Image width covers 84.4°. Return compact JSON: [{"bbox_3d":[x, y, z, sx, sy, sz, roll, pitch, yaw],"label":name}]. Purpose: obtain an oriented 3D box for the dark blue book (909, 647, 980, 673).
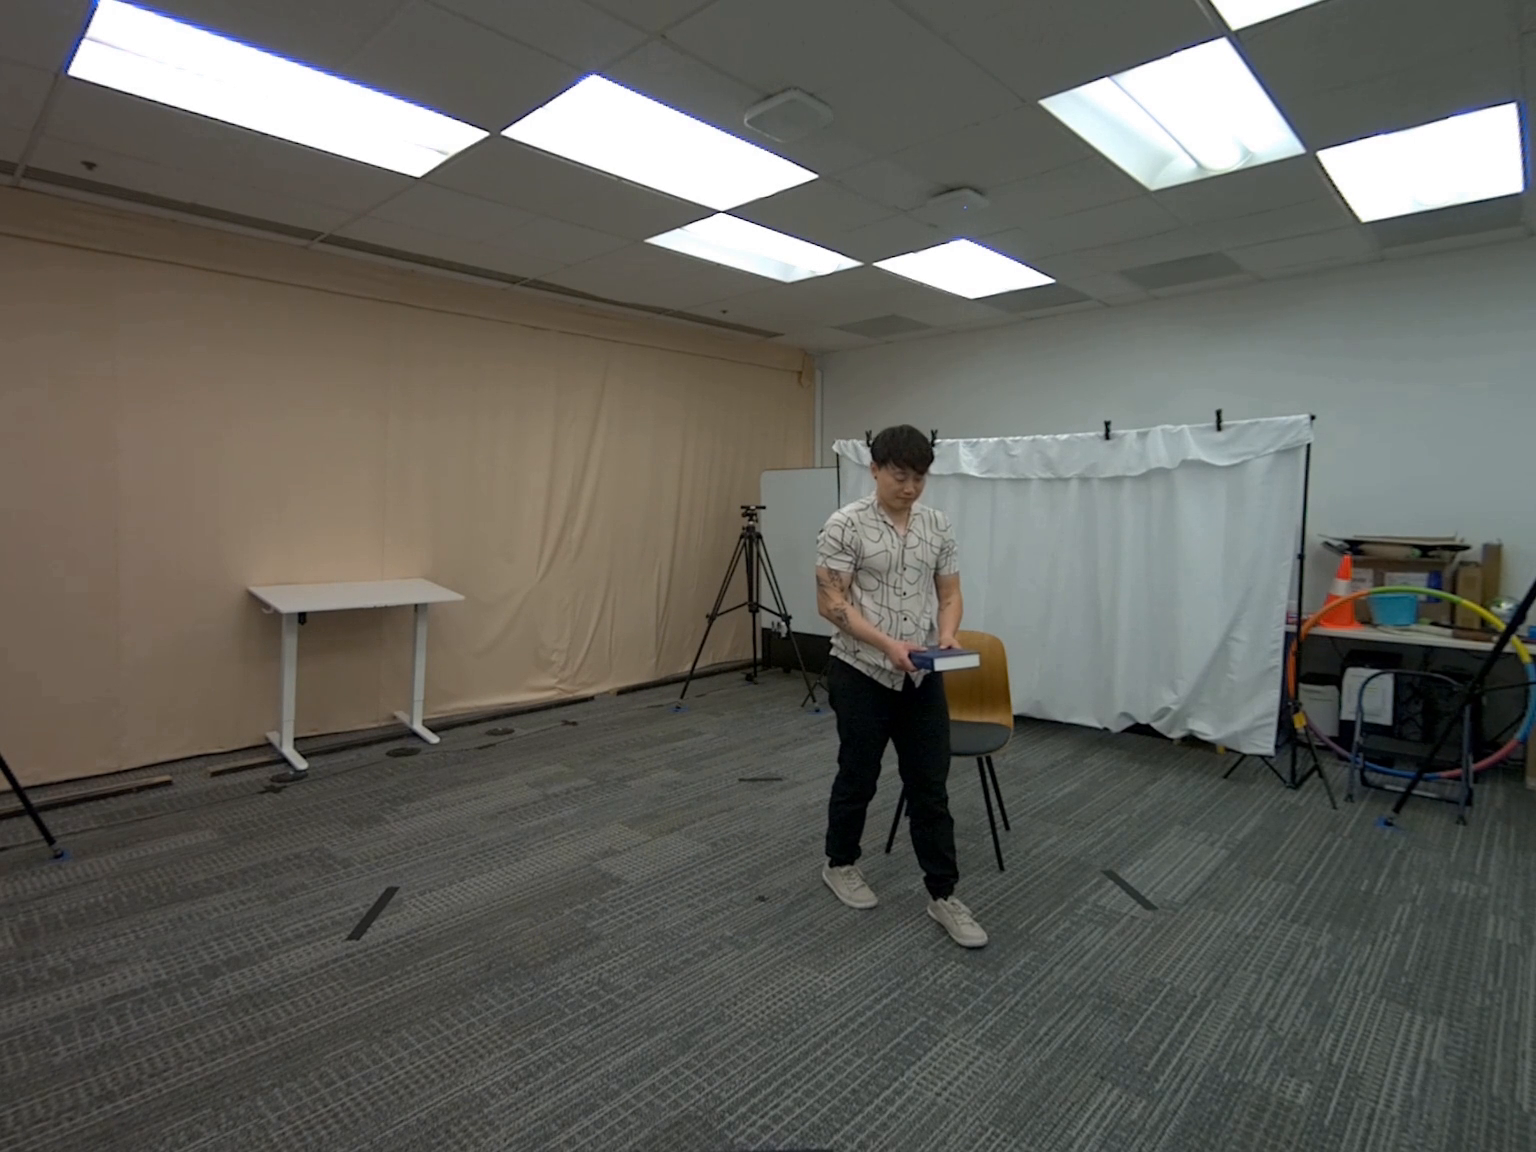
[{"bbox_3d":[0.541,0.255,2.600,0.161,0.045,0.249,-5,1,-17],"label":"dark blue book"}]
